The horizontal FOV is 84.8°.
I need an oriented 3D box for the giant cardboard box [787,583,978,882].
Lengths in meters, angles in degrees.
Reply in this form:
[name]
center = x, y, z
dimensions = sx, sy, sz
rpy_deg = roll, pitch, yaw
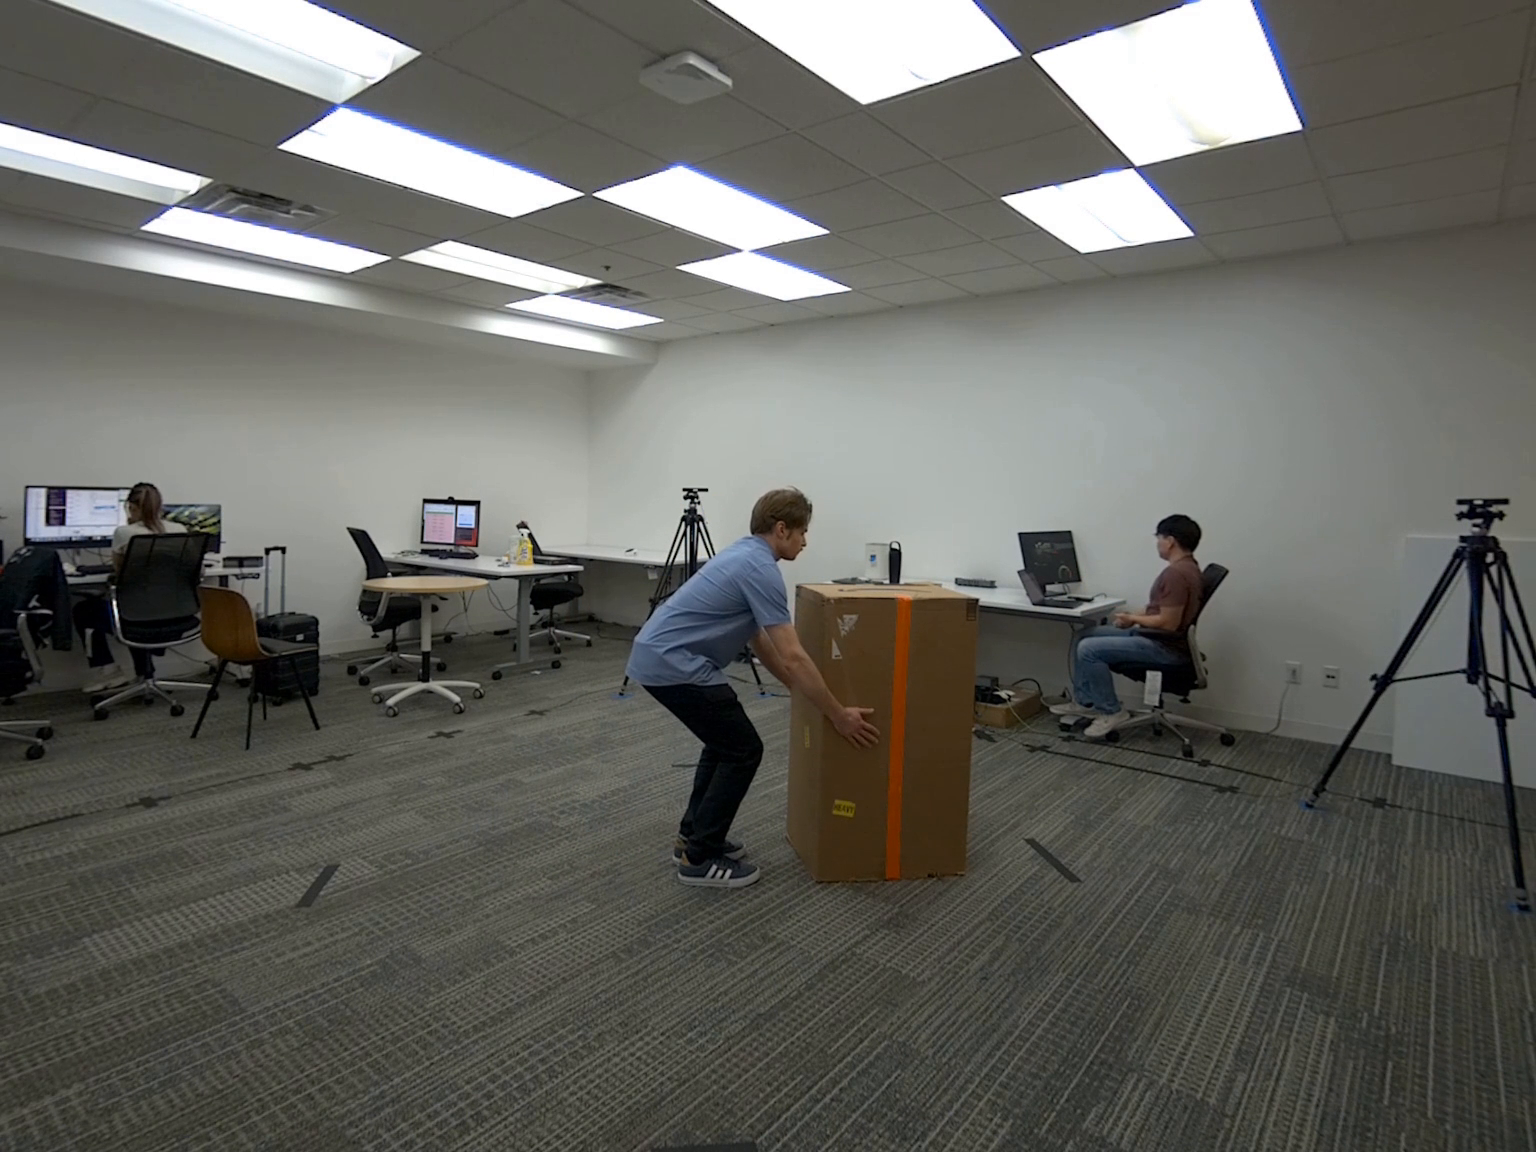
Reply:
[giant cardboard box]
center = 0.411, 0.563, 3.245
dimensions = 0.571, 1.023, 0.432
rpy_deg = 1, 3, -11
